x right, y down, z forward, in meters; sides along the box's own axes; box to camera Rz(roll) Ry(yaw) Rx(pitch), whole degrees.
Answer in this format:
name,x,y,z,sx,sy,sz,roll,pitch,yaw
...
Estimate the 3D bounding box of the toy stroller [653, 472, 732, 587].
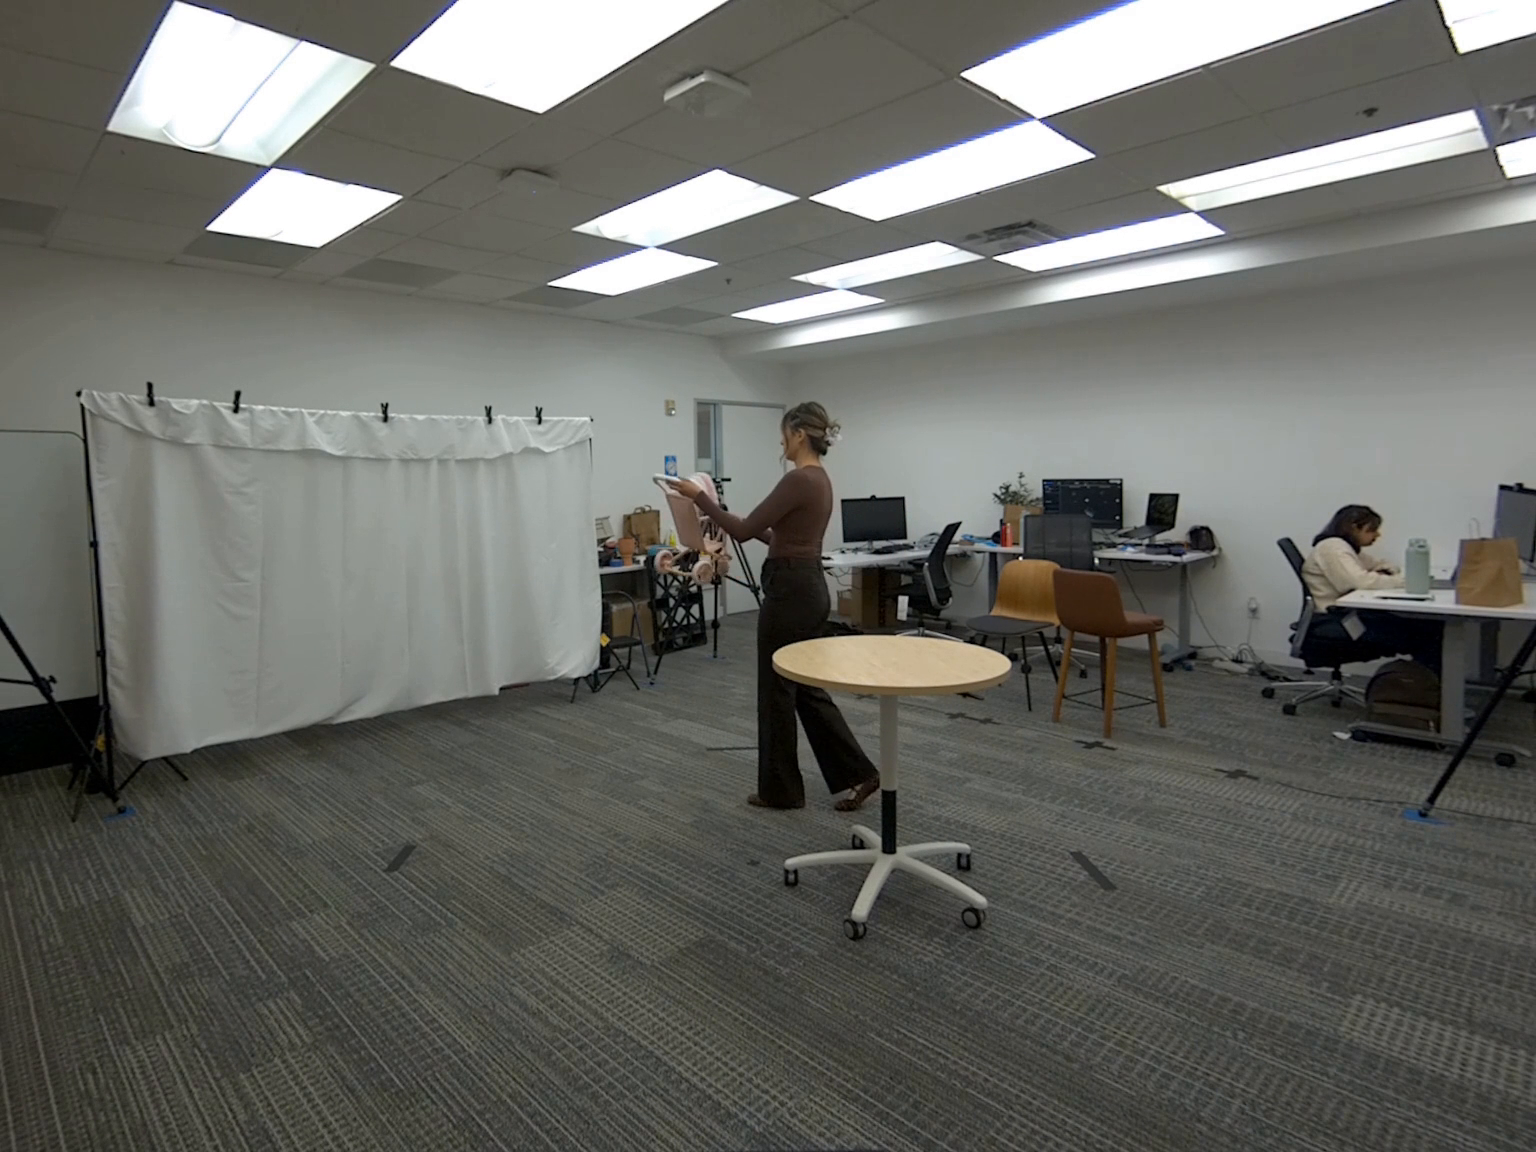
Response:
name,x,y,z,sx,sy,sz,roll,pitch,yaw
toy stroller,-0.303,-0.214,3.741,0.335,0.526,0.291,-19,23,-39
